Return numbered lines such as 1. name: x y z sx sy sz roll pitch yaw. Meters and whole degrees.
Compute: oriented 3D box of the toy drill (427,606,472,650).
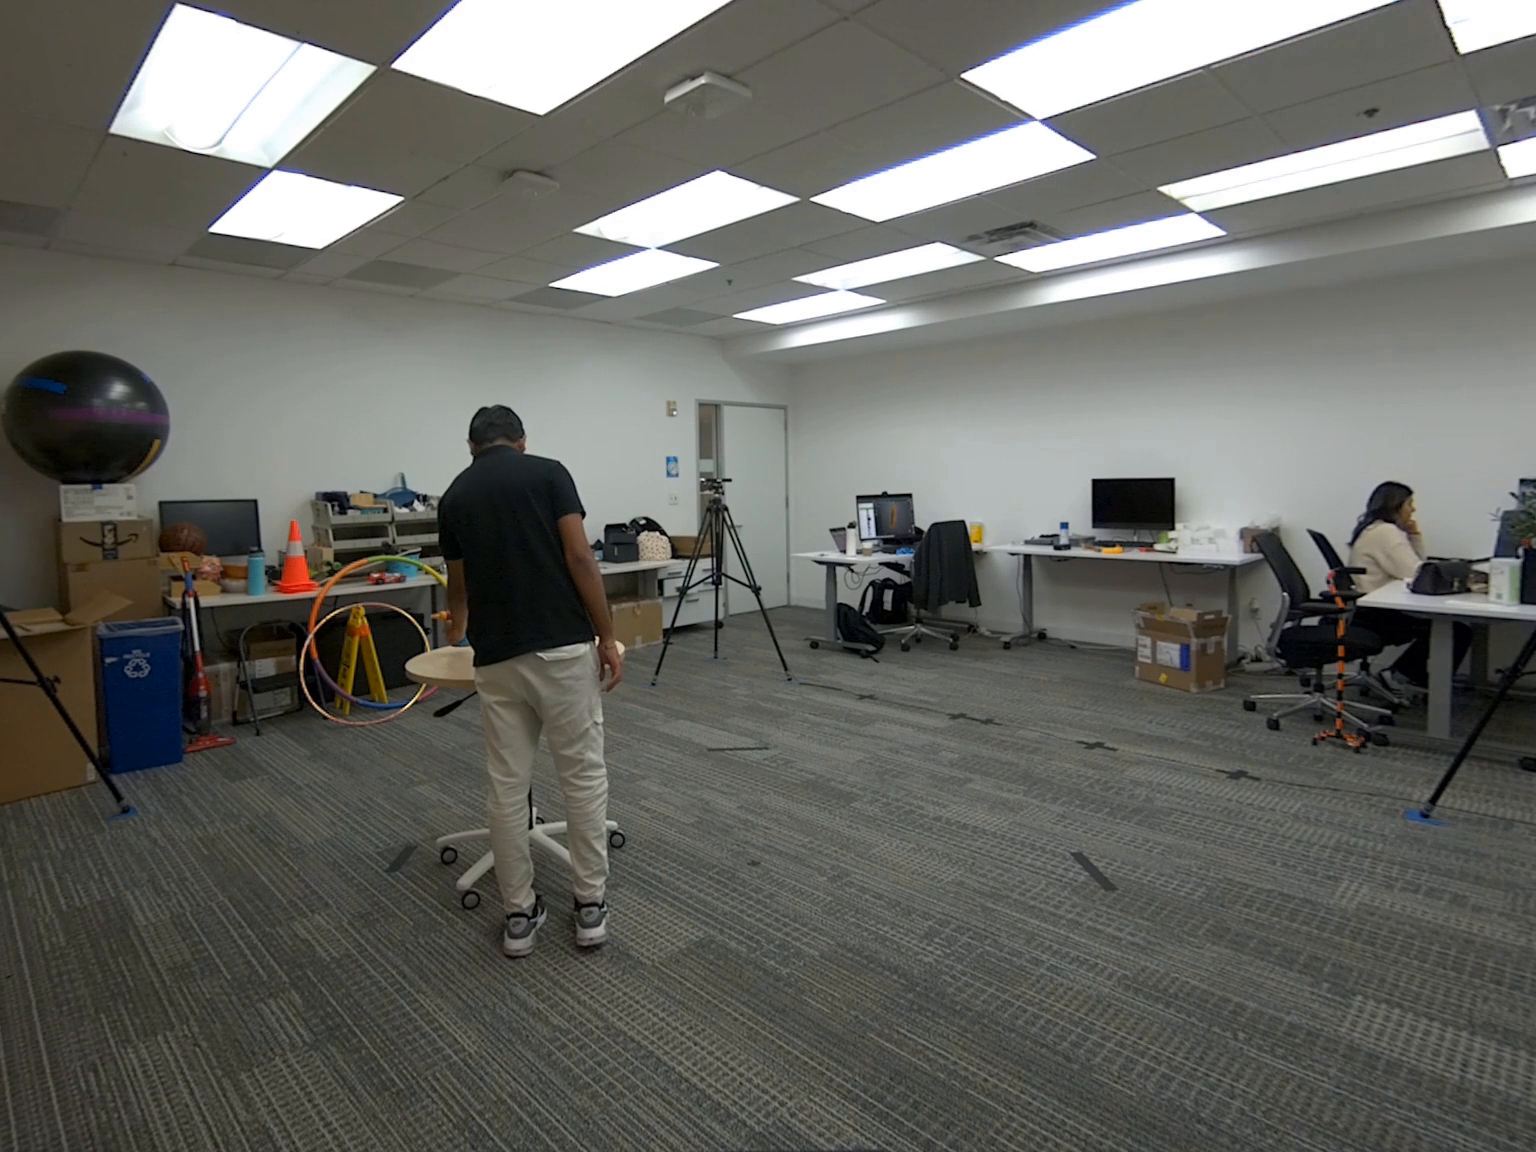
1. toy drill: -1.143 0.186 3.119 0.063 0.146 0.165 4 1 44
